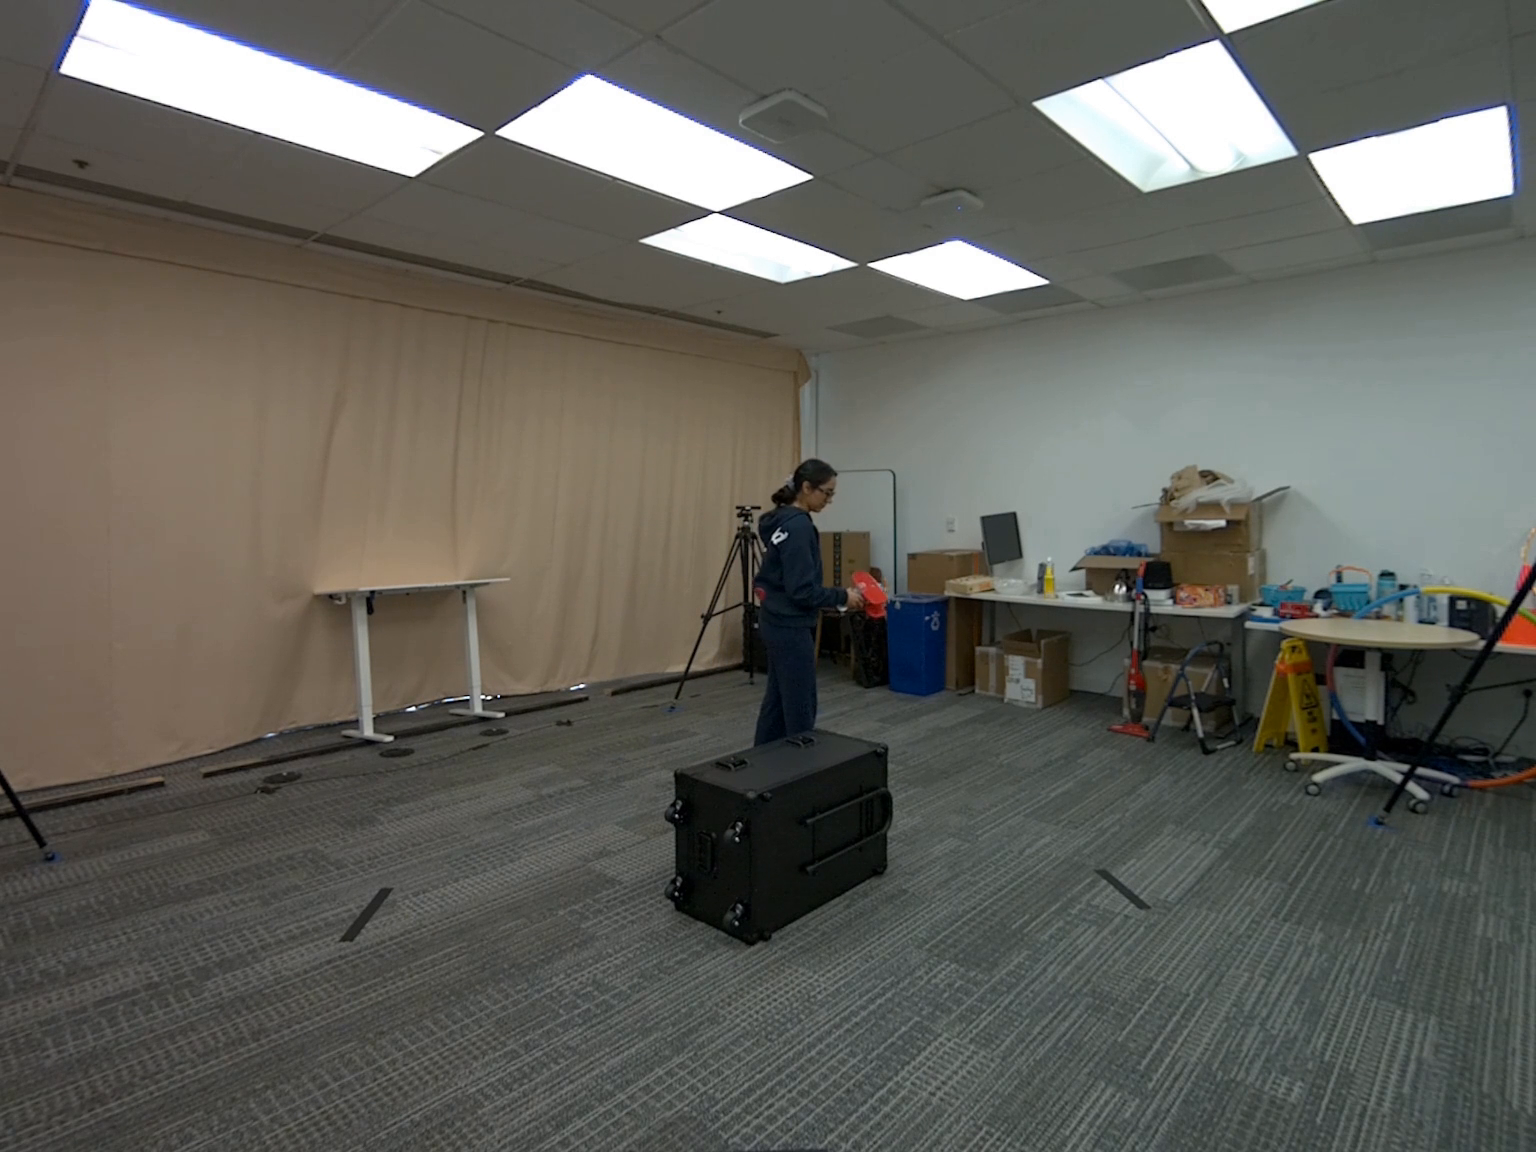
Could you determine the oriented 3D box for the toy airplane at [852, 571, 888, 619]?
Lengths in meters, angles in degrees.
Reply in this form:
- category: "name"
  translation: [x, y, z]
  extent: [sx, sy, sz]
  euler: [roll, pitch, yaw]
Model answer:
- category: "toy airplane"
  translation: [0.458, 0.104, 3.927]
  extent: [0.253, 0.154, 0.260]
  euler: [-19, 42, -38]
